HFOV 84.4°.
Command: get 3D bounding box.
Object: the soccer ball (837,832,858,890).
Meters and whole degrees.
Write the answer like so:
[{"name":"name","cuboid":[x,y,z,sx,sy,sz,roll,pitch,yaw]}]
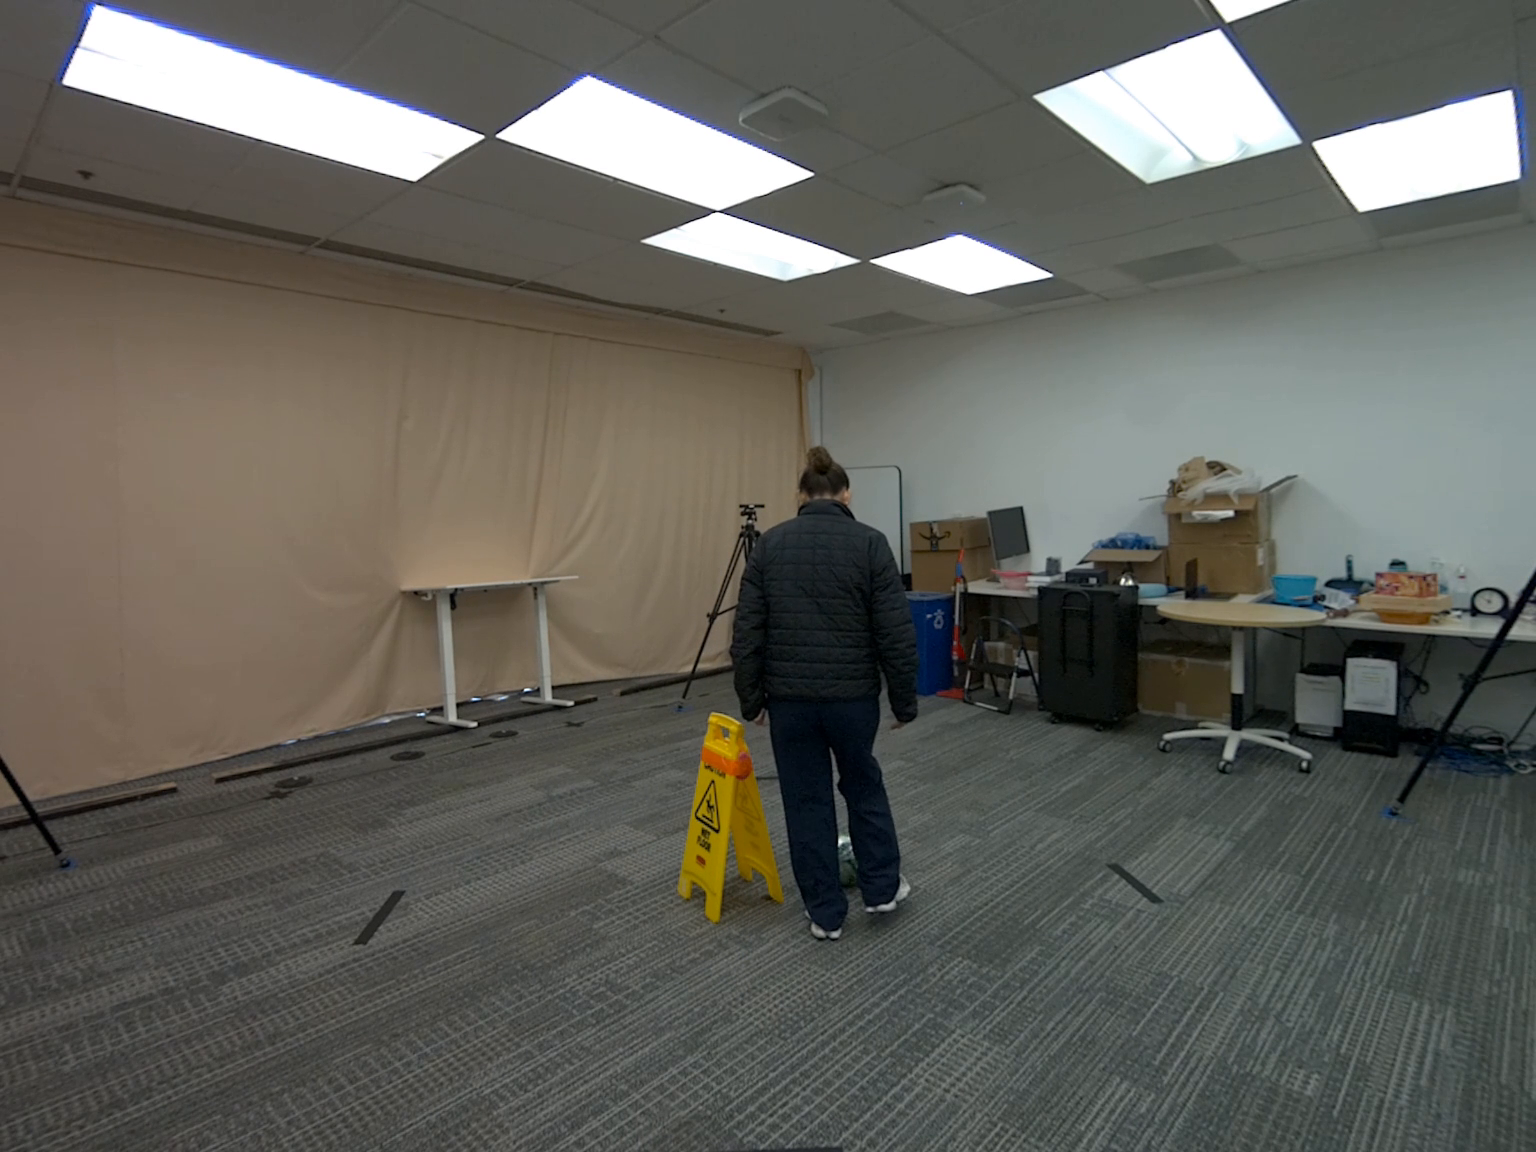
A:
[{"name":"soccer ball","cuboid":[0.286,1.035,3.061,0.187,0.187,0.188,-1,4,-2]}]
